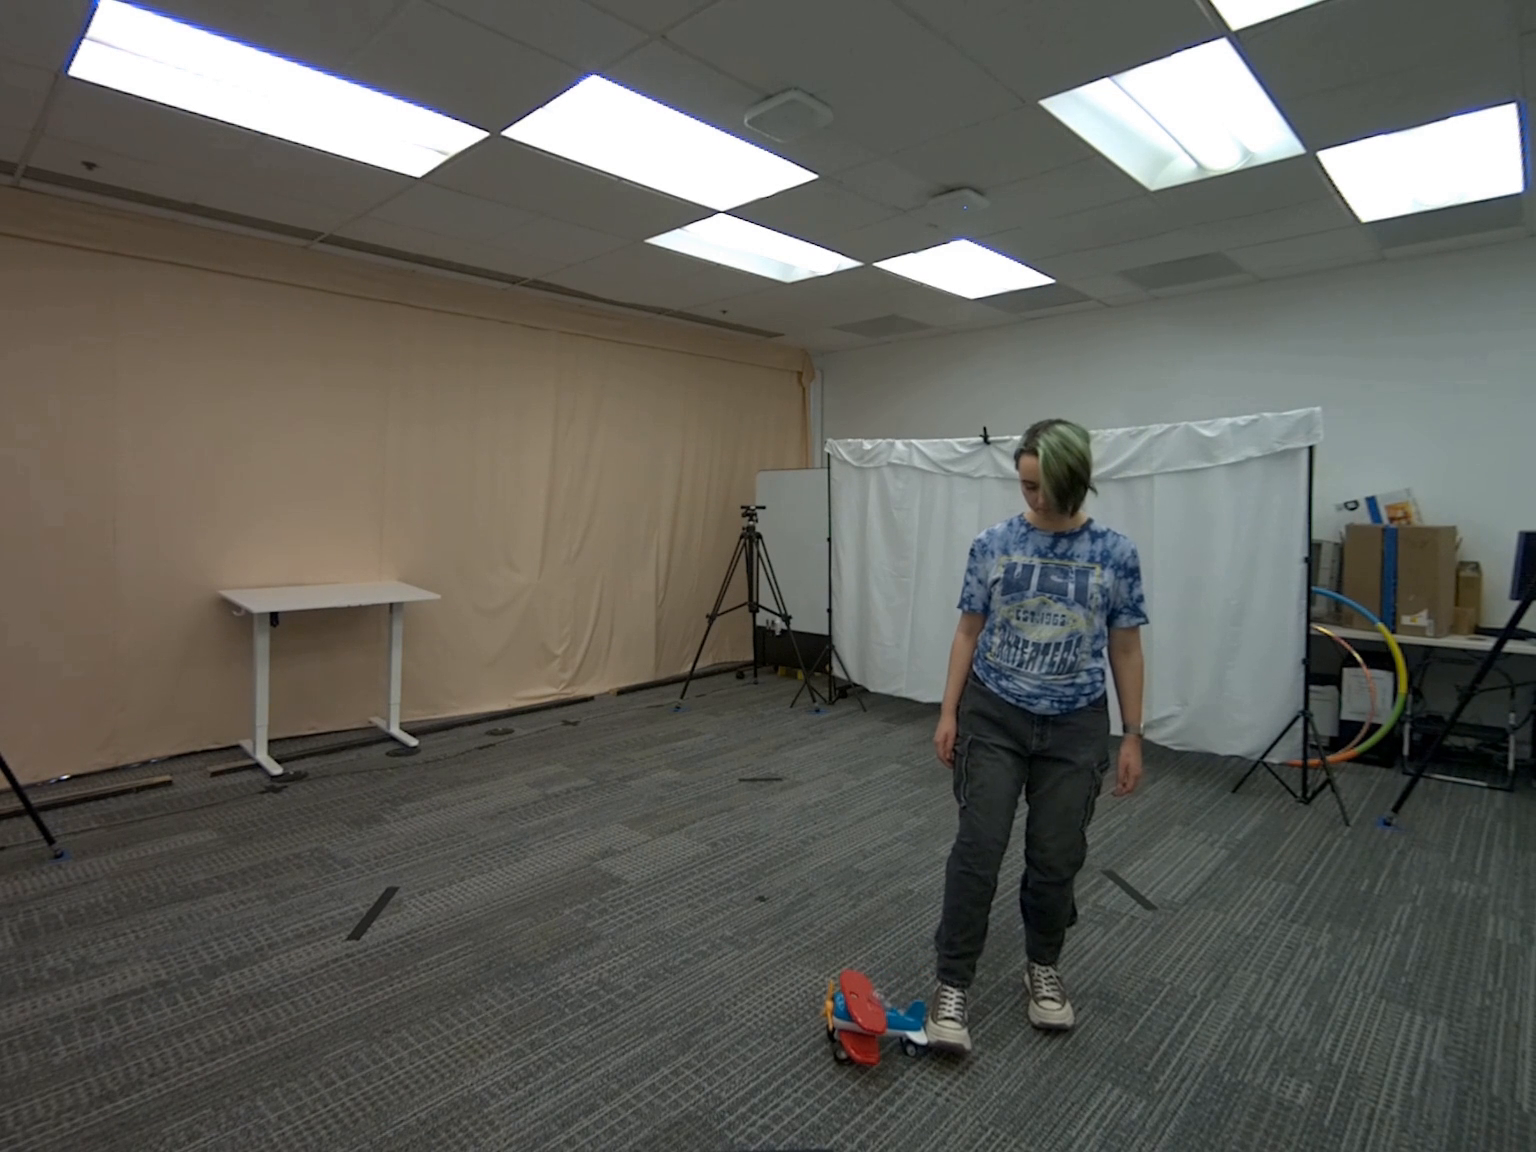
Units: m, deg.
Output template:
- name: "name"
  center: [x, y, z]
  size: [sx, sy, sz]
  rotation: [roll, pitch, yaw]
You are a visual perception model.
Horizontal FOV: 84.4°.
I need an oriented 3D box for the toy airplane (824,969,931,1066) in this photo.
- name: "toy airplane"
  center: [0.276, 1.144, 2.155]
  size: [0.253, 0.156, 0.258]
  rotation: [-5, 5, -29]
